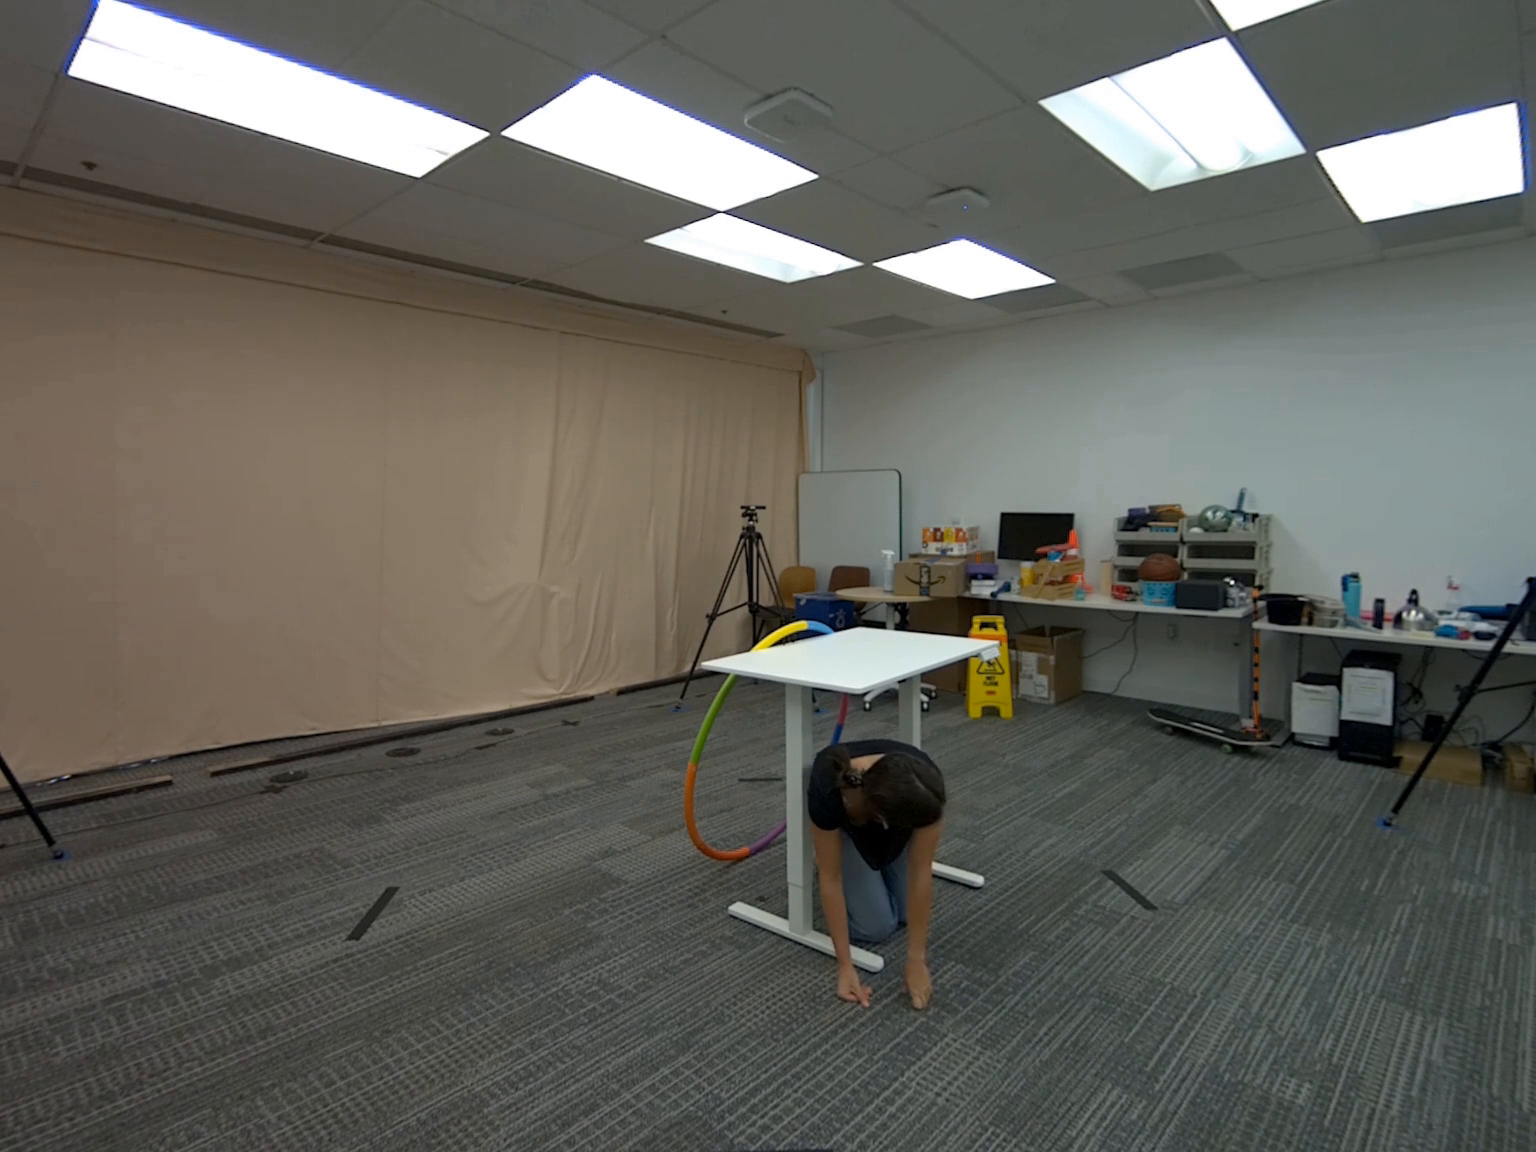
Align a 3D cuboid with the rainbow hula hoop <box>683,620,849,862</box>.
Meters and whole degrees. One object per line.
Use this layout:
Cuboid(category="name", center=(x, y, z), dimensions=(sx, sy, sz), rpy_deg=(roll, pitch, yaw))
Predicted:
Cuboid(category="rainbow hula hoop", center=(0.032, 0.647, 3.273), dimensions=(0.037, 0.973, 0.949), rpy_deg=(21, 16, 36))
